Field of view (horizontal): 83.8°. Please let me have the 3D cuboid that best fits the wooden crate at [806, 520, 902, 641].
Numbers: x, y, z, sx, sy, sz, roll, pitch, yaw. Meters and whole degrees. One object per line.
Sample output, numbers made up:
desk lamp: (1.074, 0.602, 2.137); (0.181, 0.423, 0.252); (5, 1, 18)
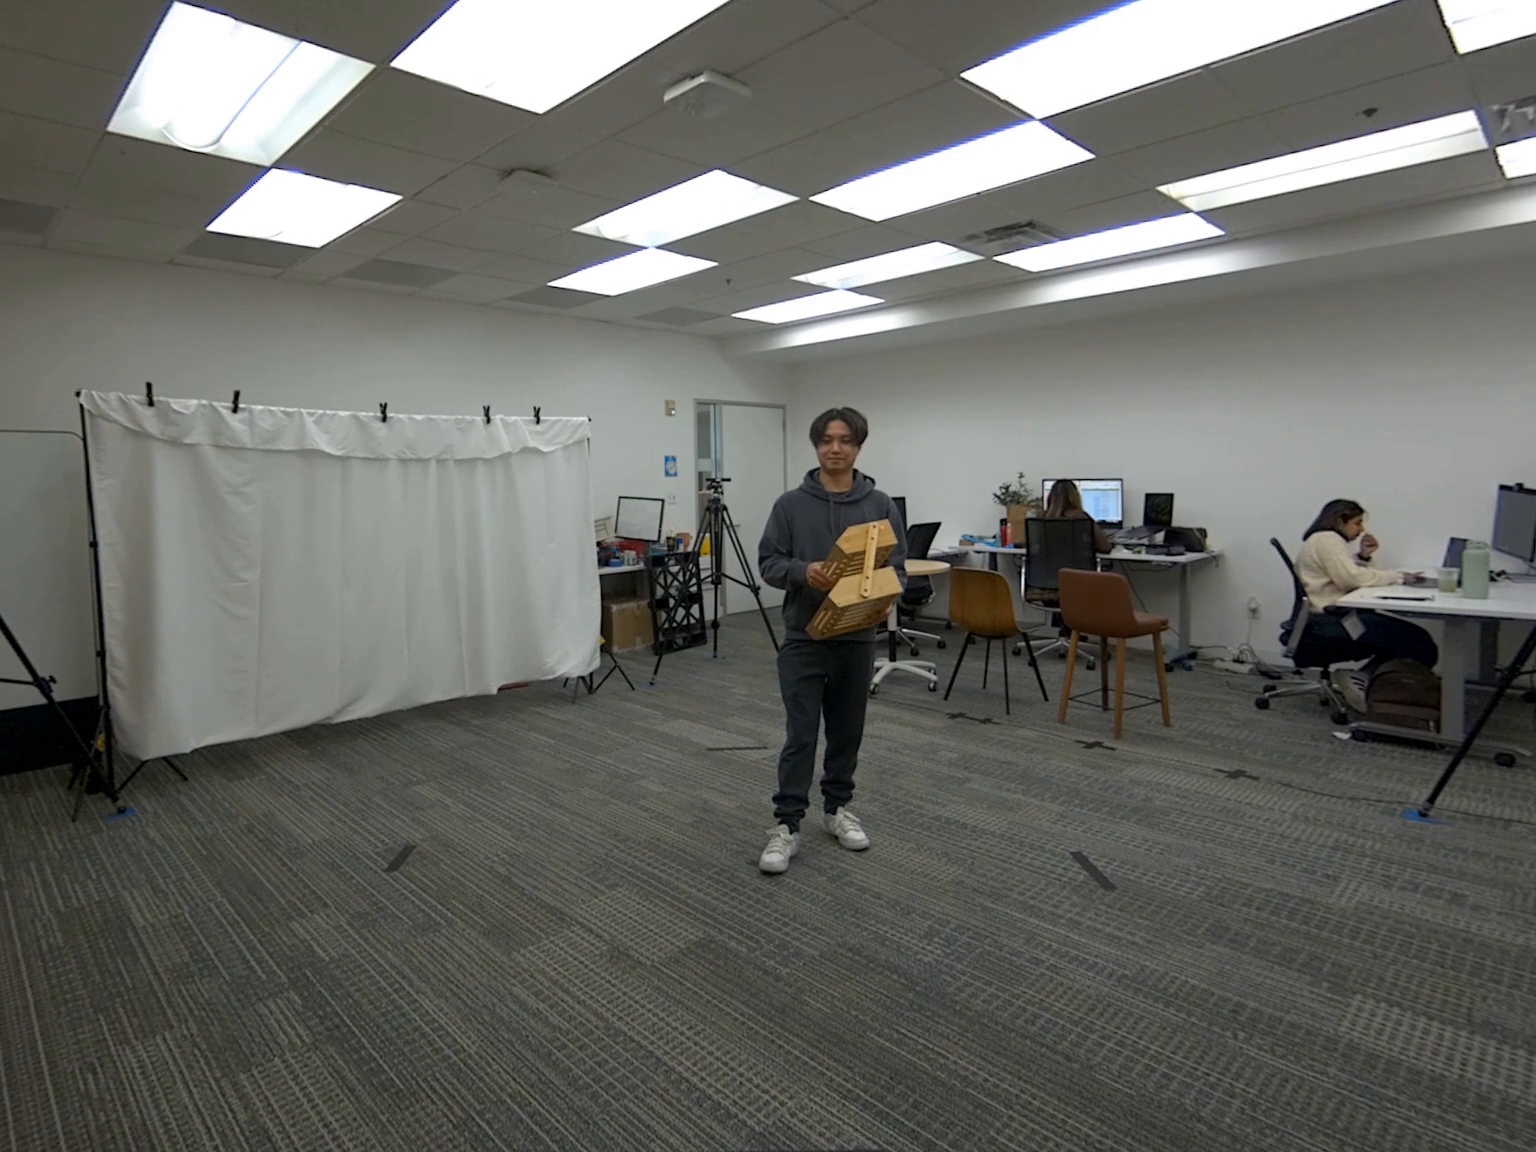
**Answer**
wooden crate: (0.259, 0.013, 2.907); (0.298, 0.280, 0.321); (-11, -22, -18)
